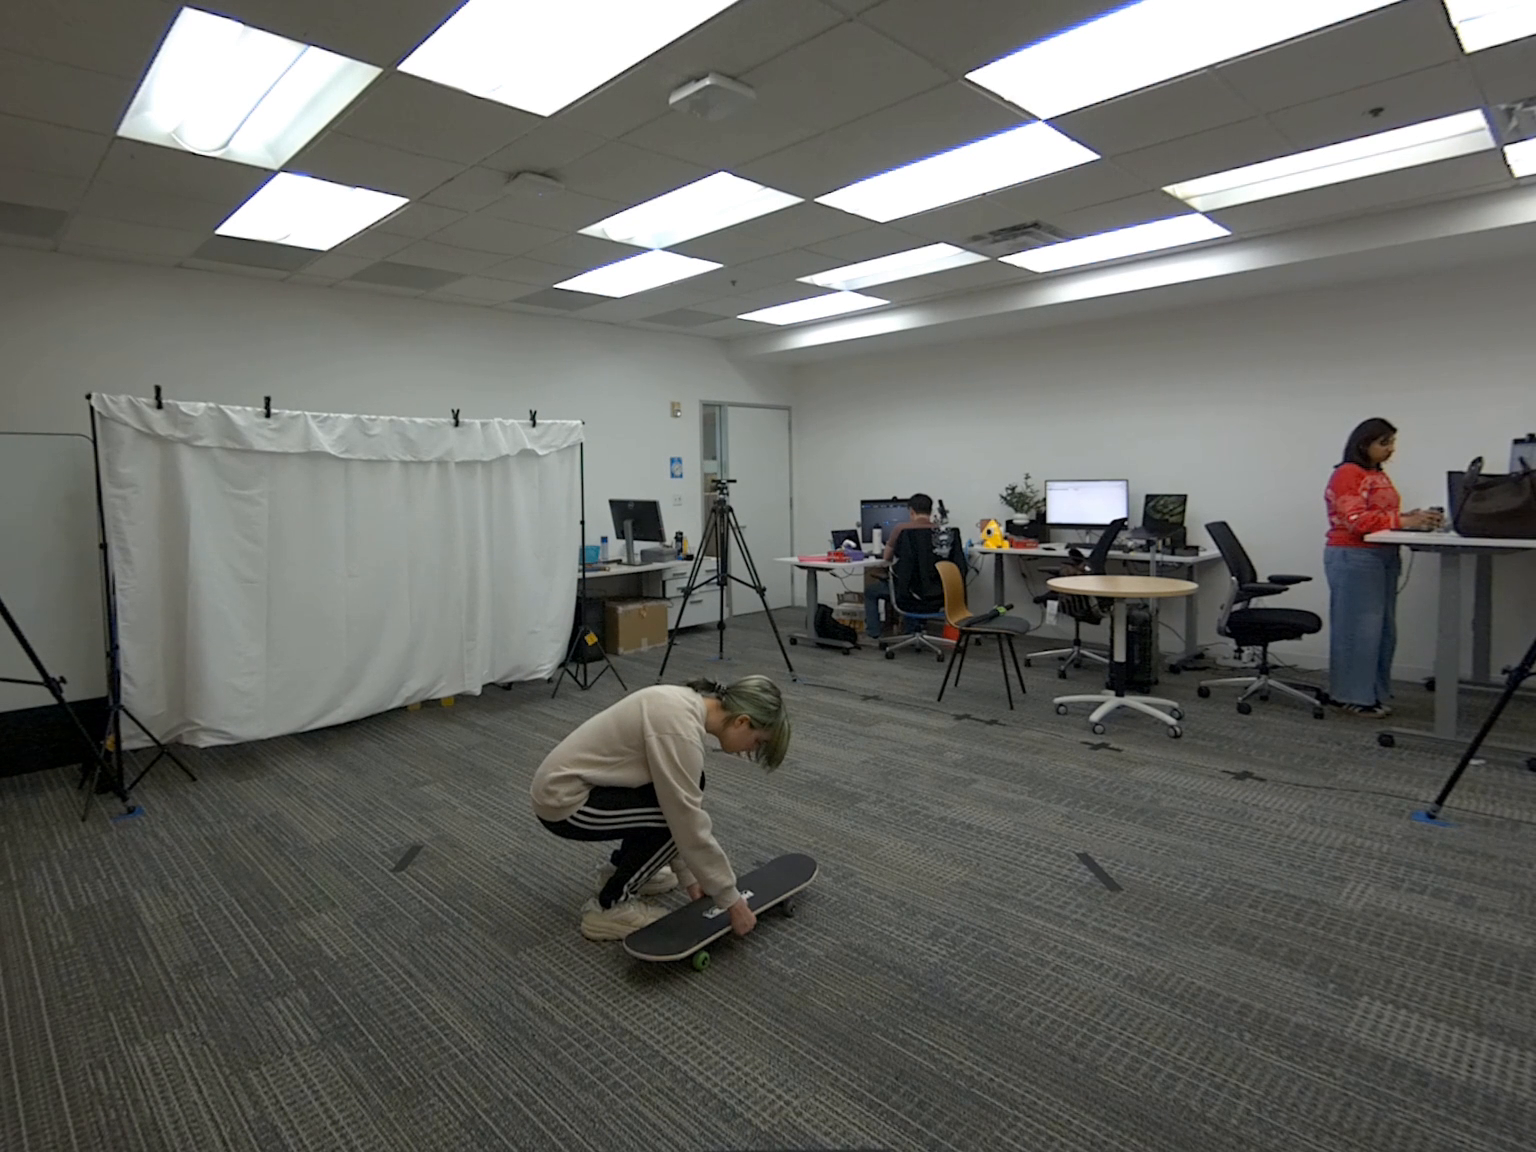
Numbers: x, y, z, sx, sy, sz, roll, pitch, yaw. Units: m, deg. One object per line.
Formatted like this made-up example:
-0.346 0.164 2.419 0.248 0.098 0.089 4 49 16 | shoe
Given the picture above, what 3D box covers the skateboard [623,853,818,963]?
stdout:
-0.120 1.038 2.646 0.199 0.110 0.765 5 9 42 | skateboard
